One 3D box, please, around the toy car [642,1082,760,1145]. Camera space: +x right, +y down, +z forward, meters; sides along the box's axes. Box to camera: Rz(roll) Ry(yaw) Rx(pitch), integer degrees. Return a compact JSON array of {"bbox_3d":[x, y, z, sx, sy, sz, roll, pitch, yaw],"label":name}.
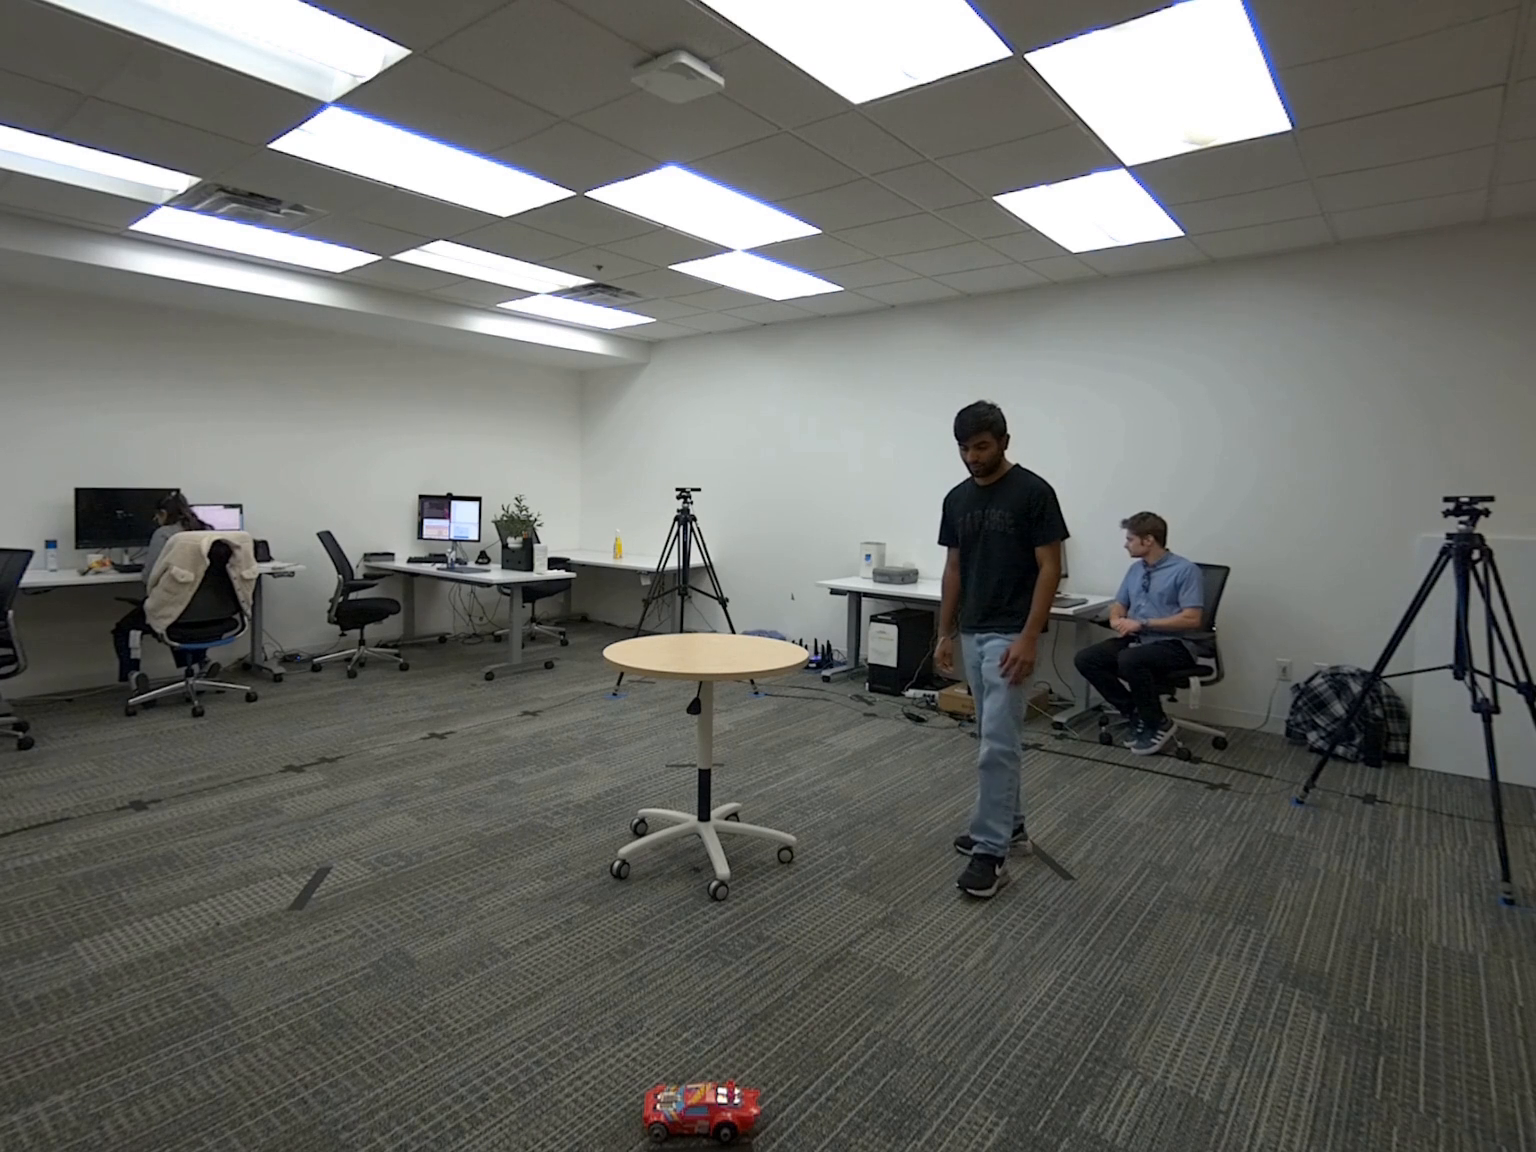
[{"bbox_3d":[-0.146,1.165,1.860,0.255,0.083,0.130,-10,4,1],"label":"toy car"}]
